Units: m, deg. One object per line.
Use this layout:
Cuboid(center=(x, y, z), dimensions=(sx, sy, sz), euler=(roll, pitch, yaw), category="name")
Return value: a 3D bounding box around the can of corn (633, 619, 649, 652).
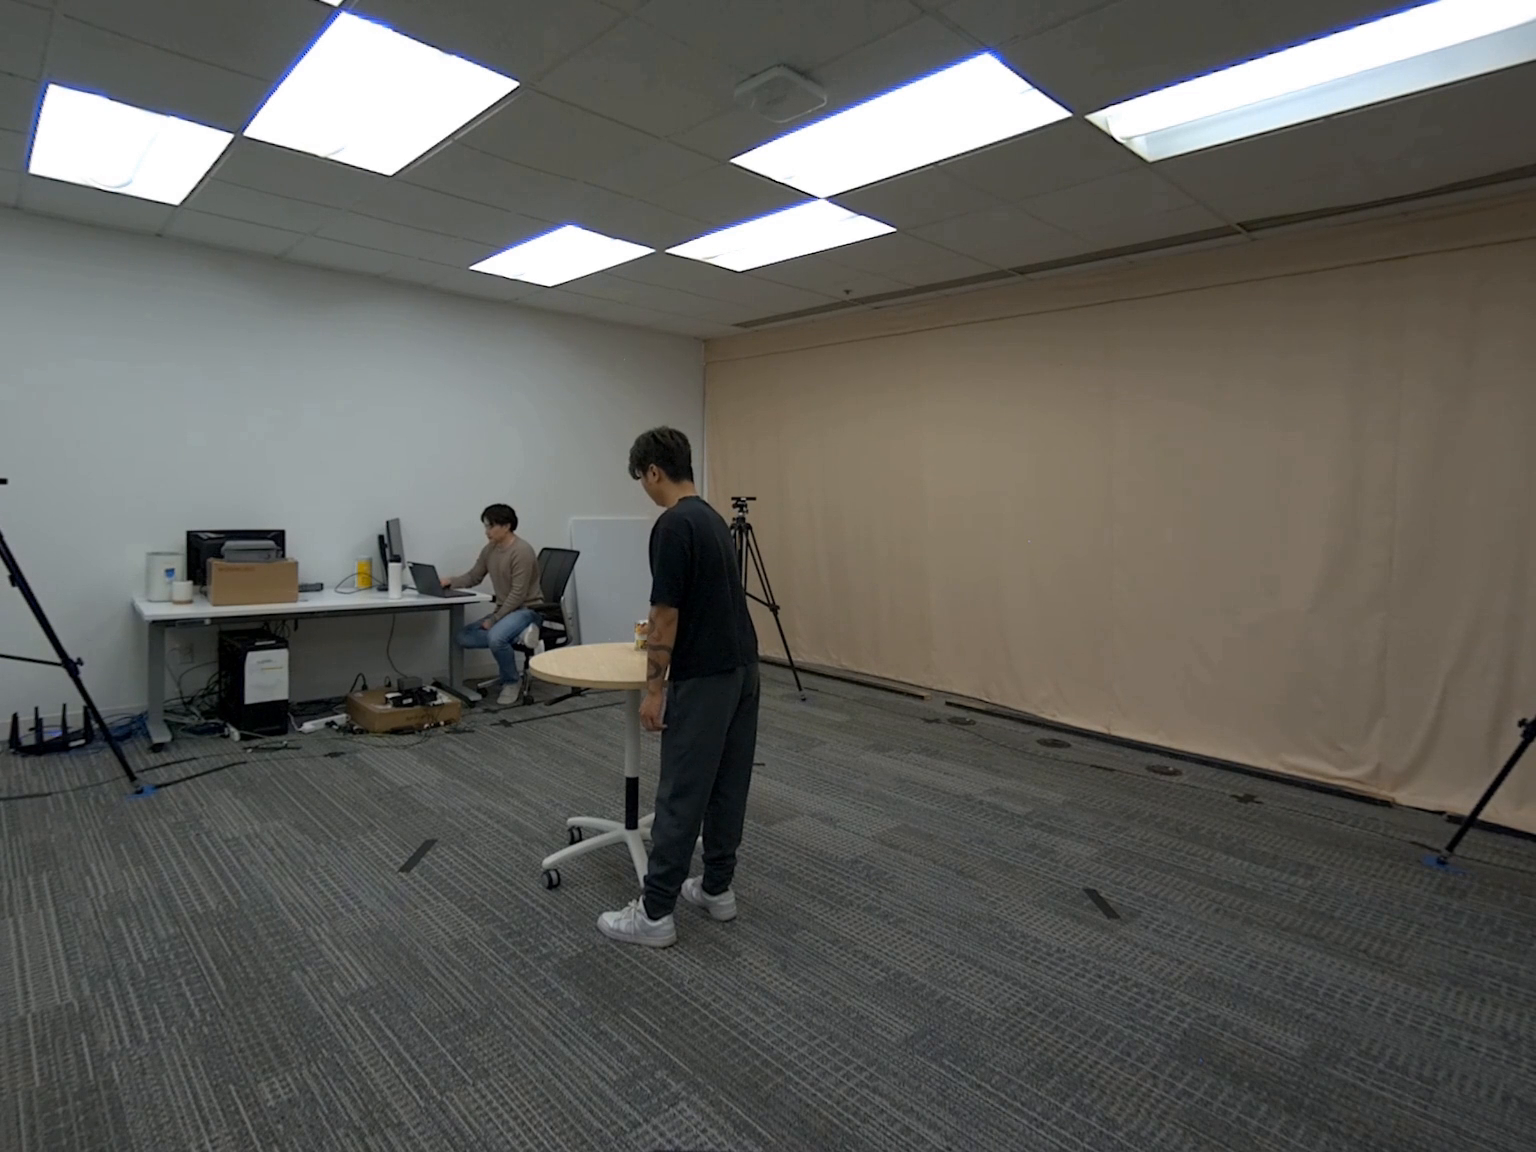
Cuboid(center=(-0.507, 0.239, 3.356), dimensions=(0.074, 0.111, 0.074), euler=(1, 4, -1), category="can of corn")
